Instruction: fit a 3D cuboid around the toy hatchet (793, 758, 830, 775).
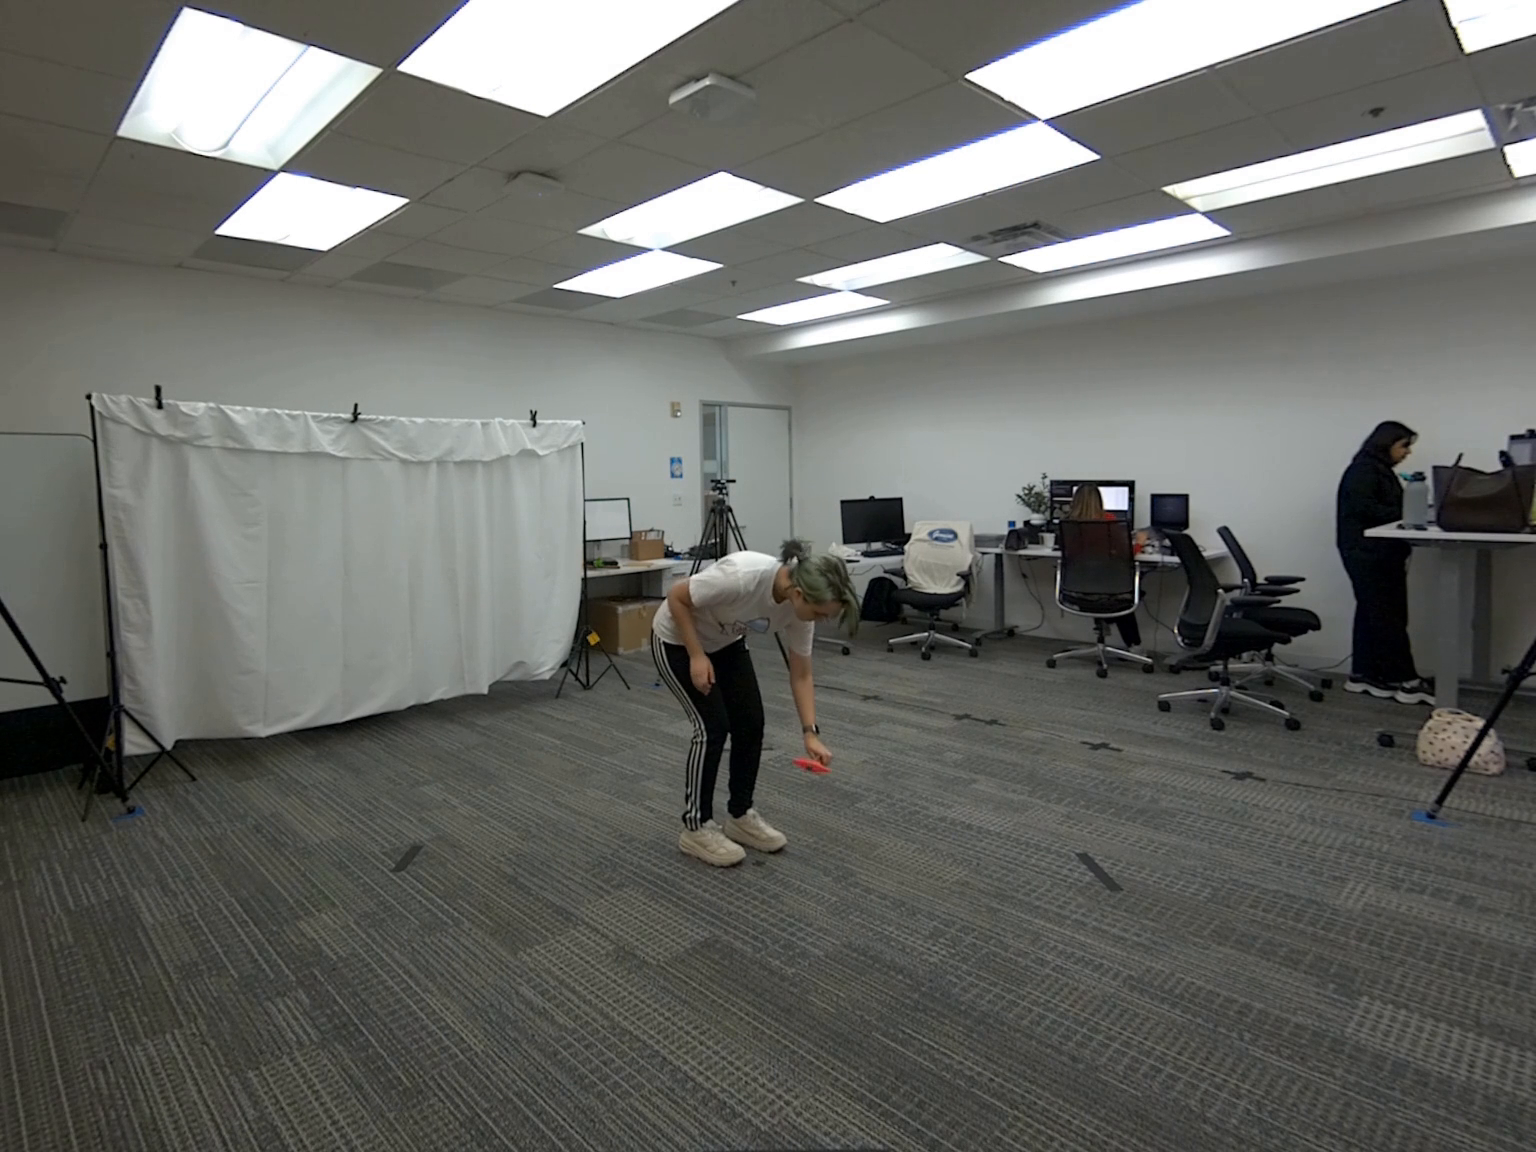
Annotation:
[{"bbox_3d":[0.147,0.628,2.961,0.131,0.029,0.270,11,3,-1],"label":"toy hatchet"}]
